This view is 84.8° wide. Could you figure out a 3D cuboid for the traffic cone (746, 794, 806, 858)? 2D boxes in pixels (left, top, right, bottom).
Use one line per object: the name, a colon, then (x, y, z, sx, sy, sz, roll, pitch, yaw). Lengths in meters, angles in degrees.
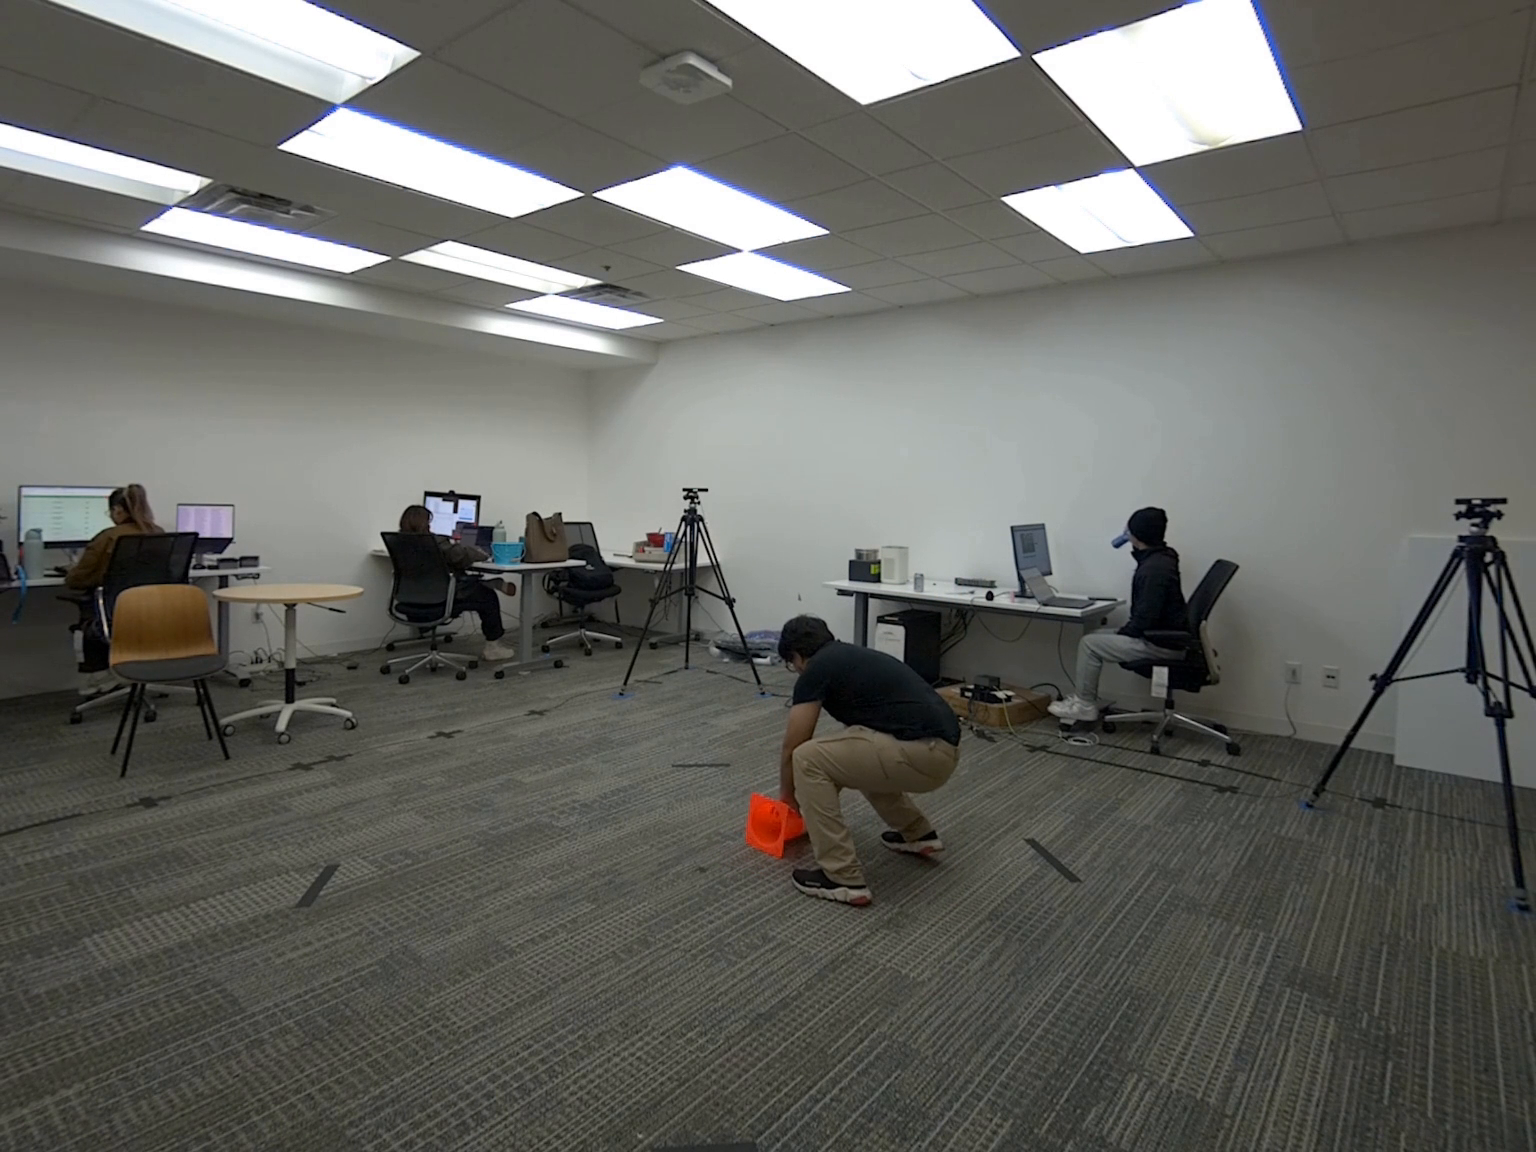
traffic cone: (0.113, 0.988, 3.425, 0.369, 0.204, 0.212, 13, -6, -43)
